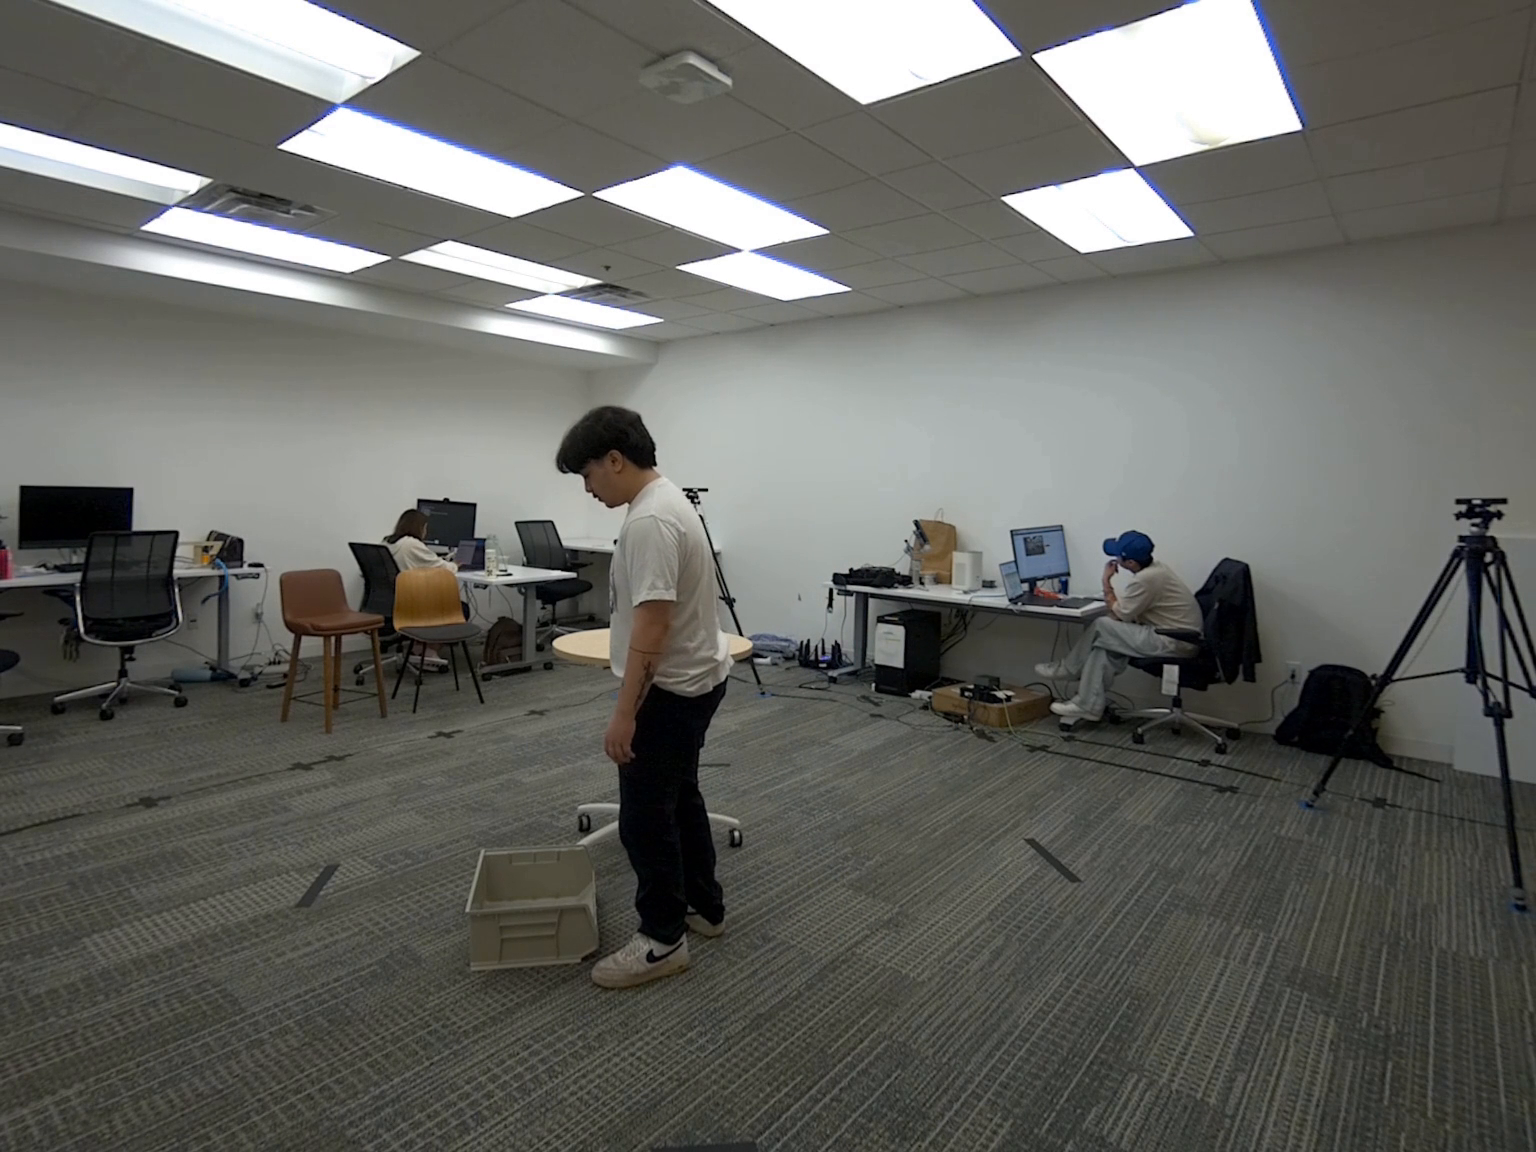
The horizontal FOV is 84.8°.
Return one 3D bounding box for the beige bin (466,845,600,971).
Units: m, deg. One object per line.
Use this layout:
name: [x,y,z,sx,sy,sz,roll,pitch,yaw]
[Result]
beige bin: [-0.737,1.020,2.654,0.373,0.188,0.429,-1,6,-12]
